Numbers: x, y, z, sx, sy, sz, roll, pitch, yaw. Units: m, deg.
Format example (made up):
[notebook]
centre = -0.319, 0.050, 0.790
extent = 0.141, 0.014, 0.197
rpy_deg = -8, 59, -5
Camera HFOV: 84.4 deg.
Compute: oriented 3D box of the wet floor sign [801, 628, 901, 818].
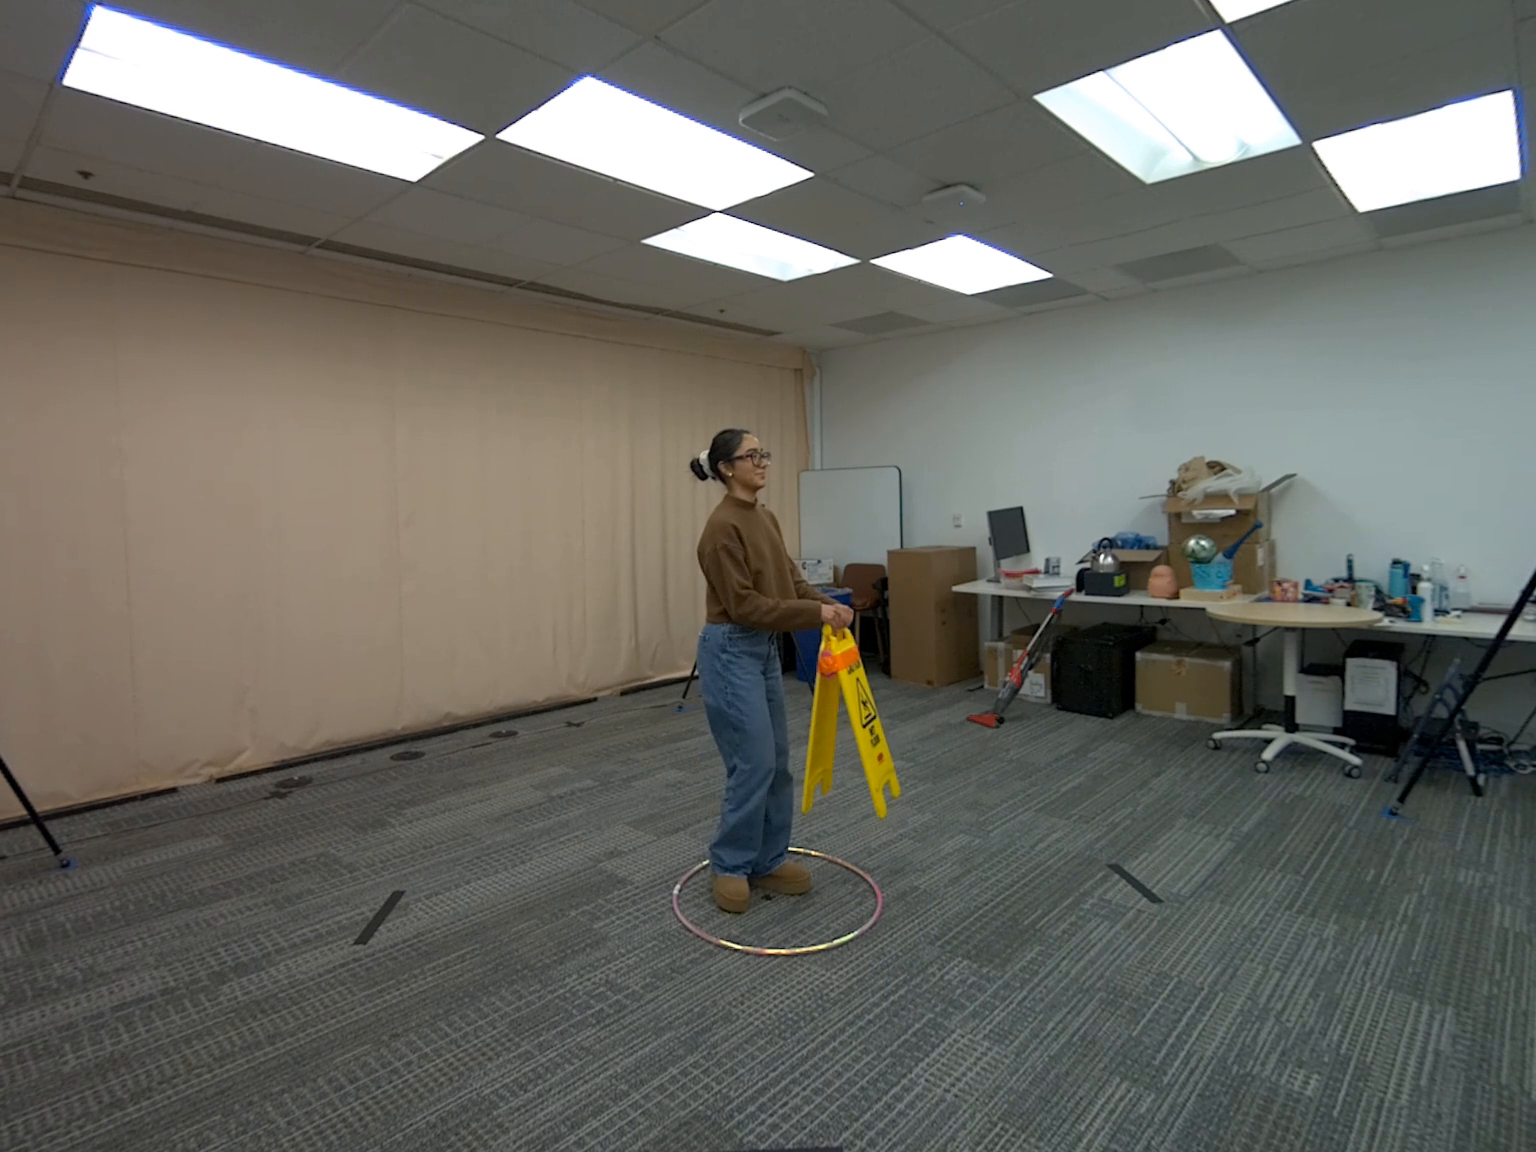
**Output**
[wet floor sign]
centre = 0.262, 0.466, 2.887
extent = 0.297, 0.645, 0.276
rpy_deg = -4, 2, 25
